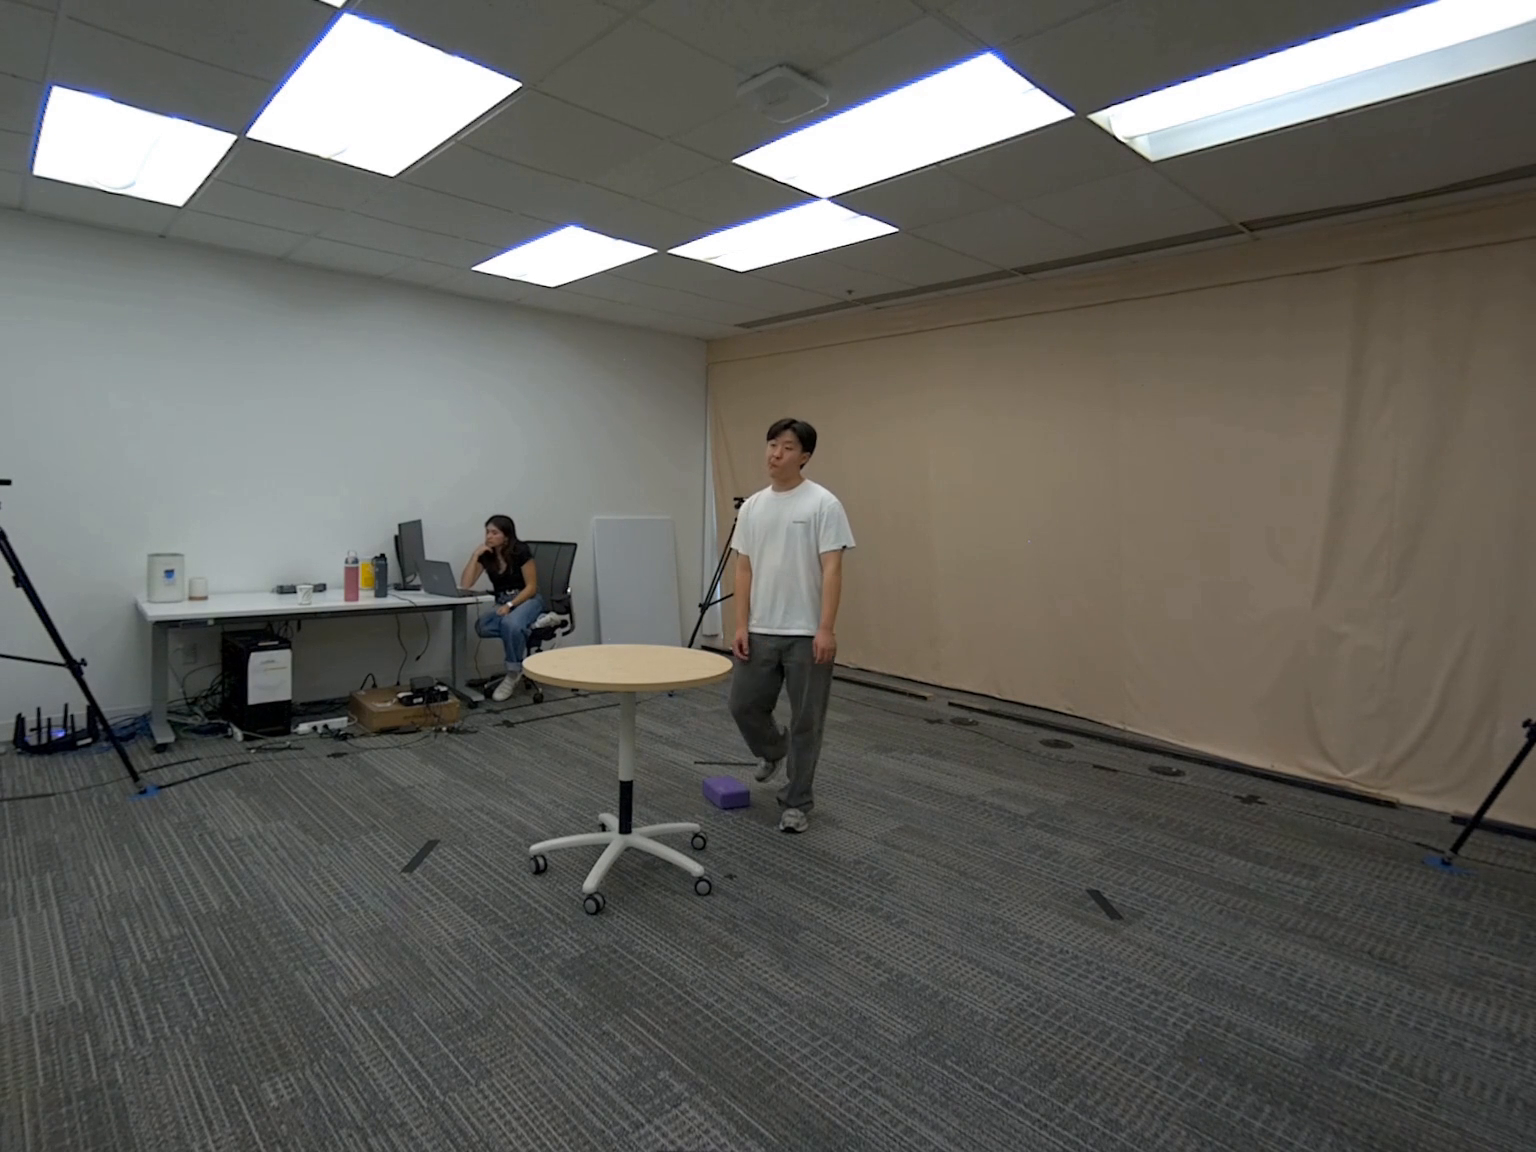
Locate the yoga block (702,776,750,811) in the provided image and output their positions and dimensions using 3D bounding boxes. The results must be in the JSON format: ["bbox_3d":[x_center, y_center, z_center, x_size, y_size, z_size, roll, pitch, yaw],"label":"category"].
[{"bbox_3d":[-0.204,1.000,3.894,0.146,0.076,0.234,-1,5,-25],"label":"yoga block"}]
